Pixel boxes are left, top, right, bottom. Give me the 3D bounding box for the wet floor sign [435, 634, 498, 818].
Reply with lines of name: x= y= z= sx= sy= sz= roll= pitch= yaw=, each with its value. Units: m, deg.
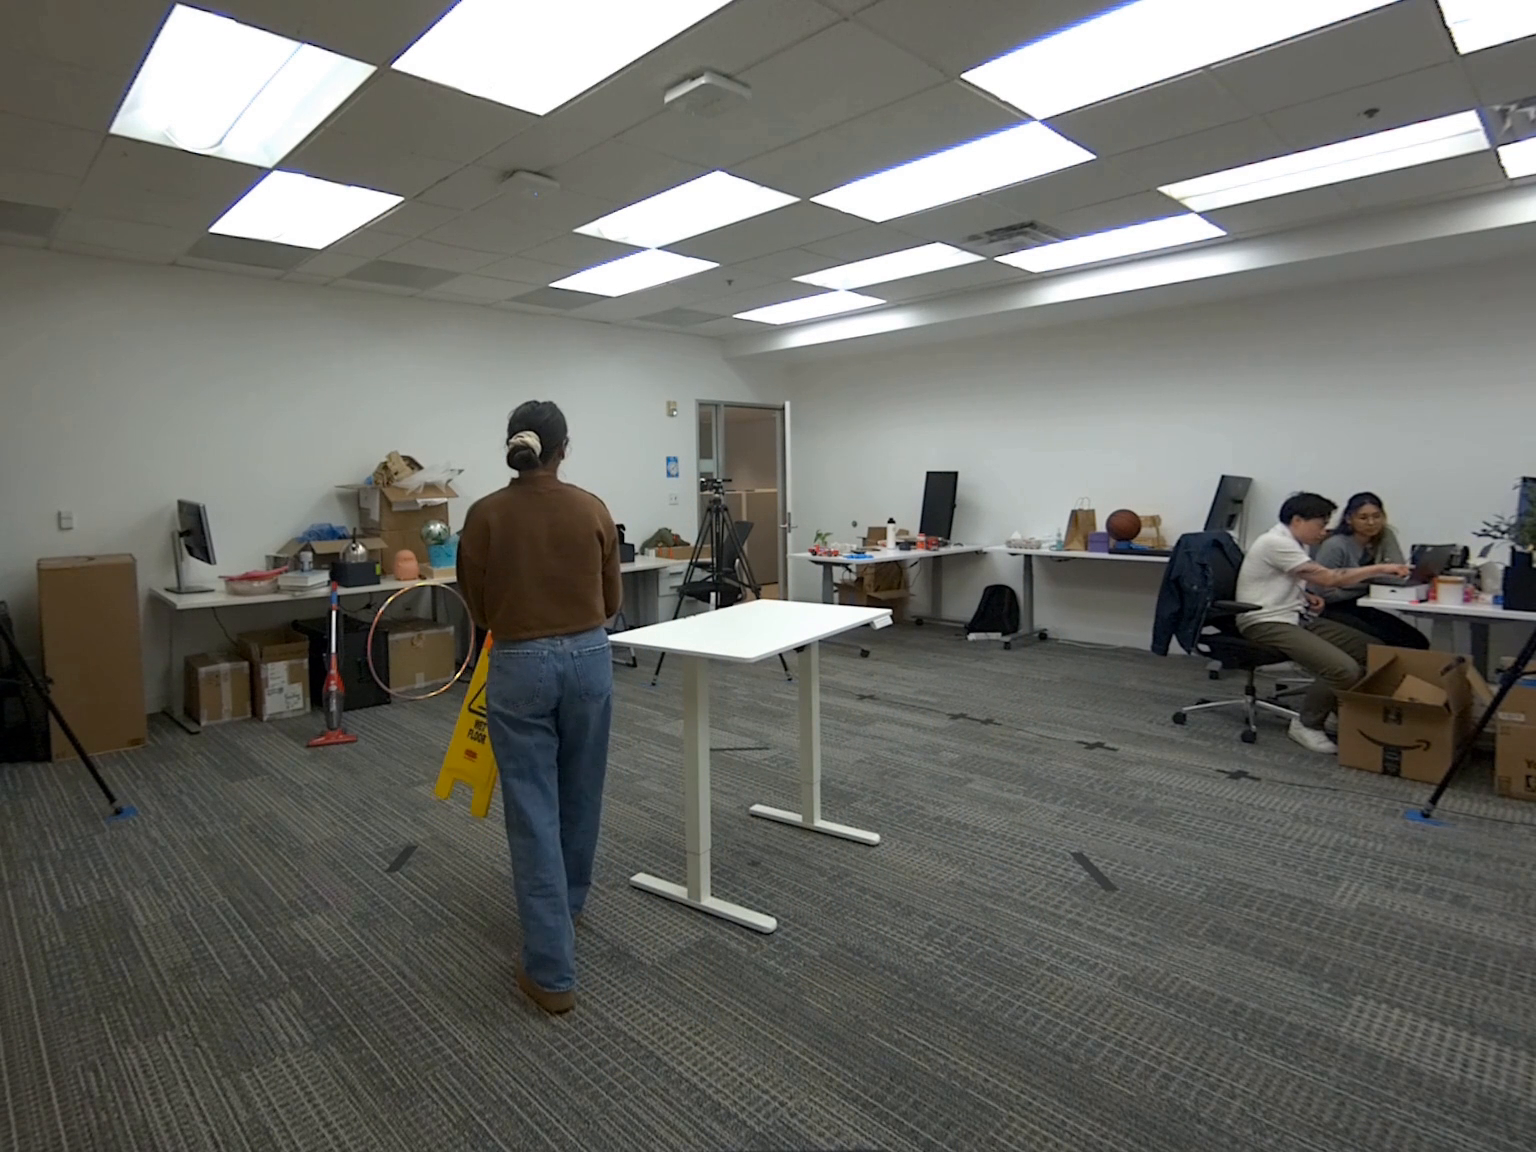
wet floor sign: x=-0.846 y=0.408 z=2.790 sx=0.291 sy=0.646 sz=0.280 roll=6 pitch=-1 yaw=39
